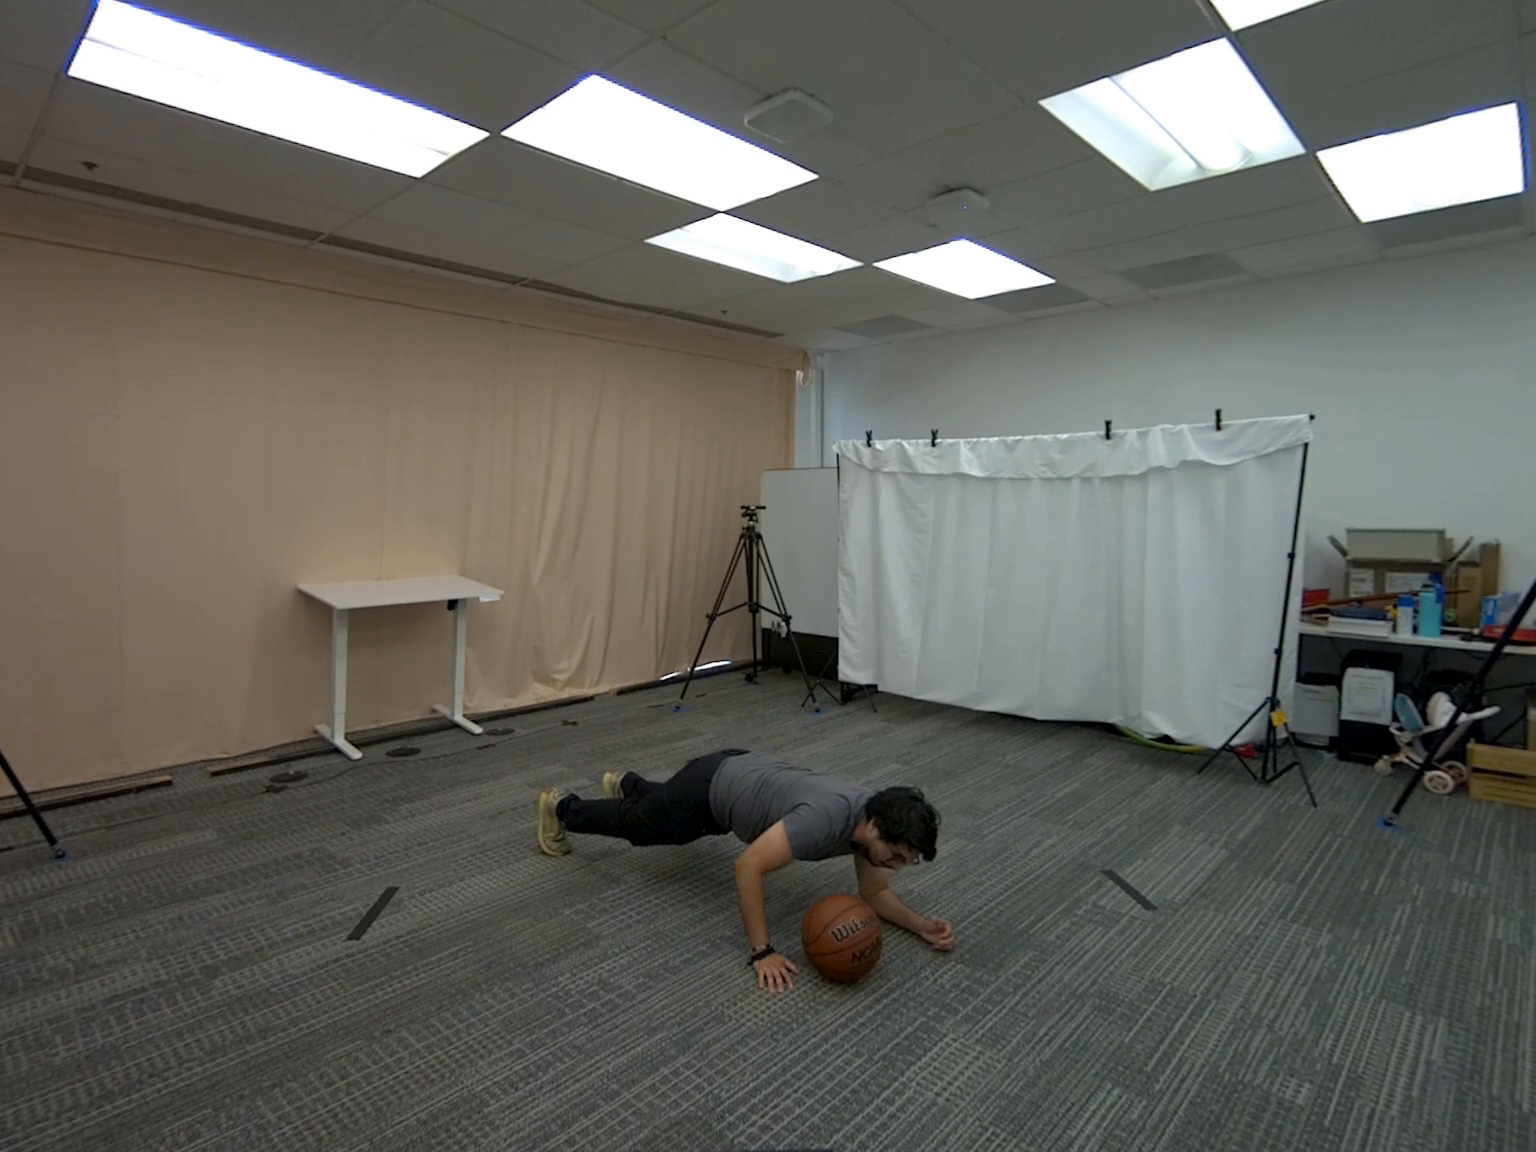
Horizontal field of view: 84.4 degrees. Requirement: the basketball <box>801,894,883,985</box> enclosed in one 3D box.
[{"bbox_3d":[0.220,1.059,2.491,0.236,0.235,0.237,0,4,-2],"label":"basketball"}]
